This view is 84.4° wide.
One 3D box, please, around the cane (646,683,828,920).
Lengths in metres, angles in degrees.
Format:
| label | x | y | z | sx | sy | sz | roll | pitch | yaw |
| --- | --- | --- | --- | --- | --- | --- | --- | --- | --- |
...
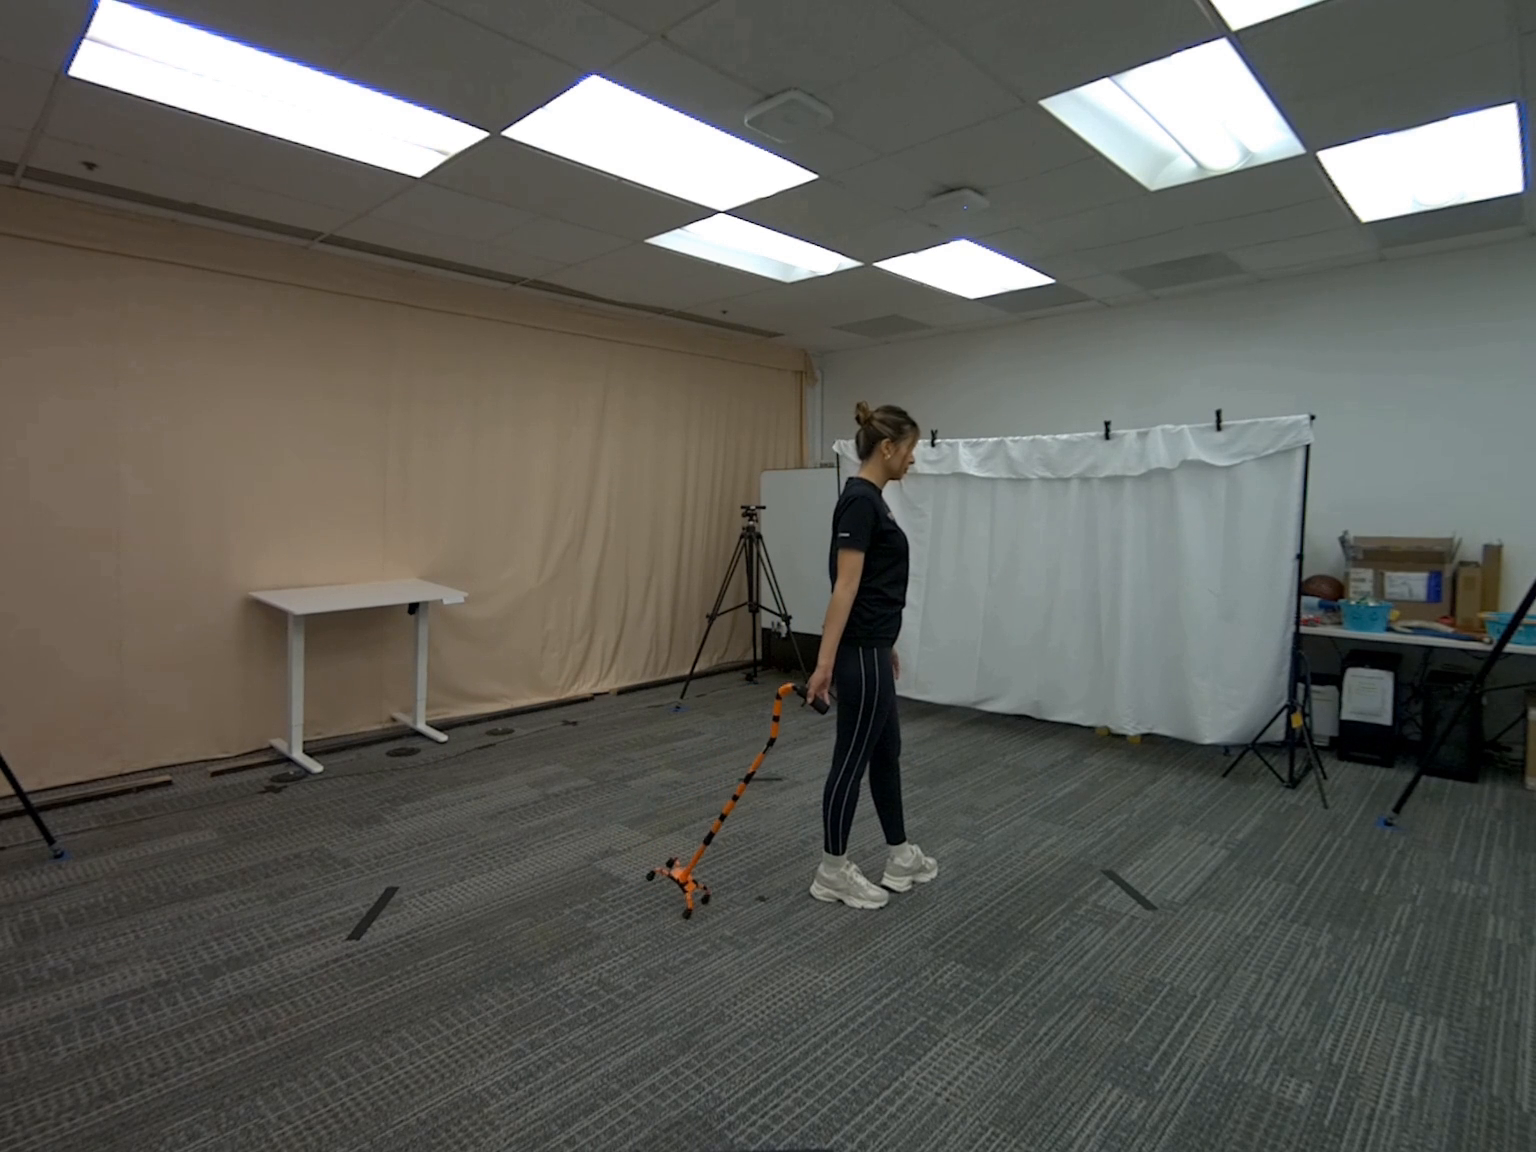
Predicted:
| label | x | y | z | sx | sy | sz | roll | pitch | yaw |
| --- | --- | --- | --- | --- | --- | --- | --- | --- | --- |
| cane | -0.097 | 0.724 | 2.796 | 0.211 | 0.908 | 0.148 | 37 | 18 | 20 |
